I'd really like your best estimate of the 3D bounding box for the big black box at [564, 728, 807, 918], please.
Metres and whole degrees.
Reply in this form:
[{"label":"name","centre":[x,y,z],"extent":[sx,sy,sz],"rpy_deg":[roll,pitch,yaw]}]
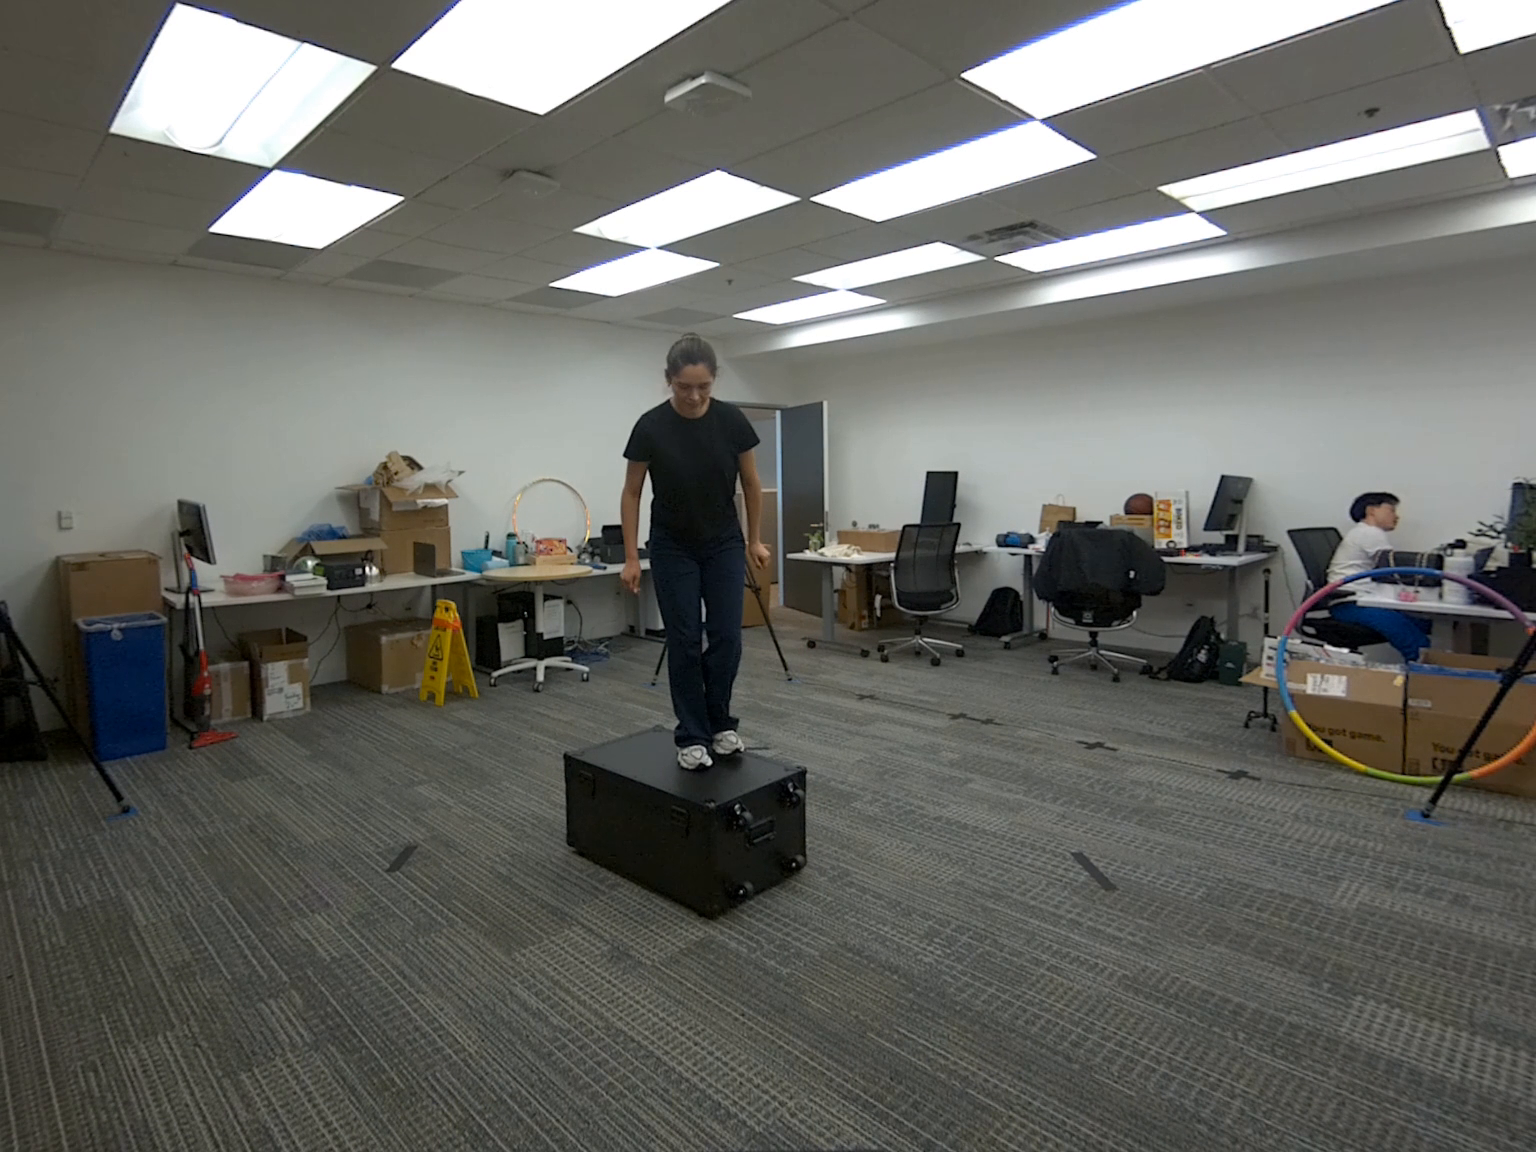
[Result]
[{"label":"big black box","centre":[-0.291,0.858,3.108],"extent":[0.888,0.394,0.508],"rpy_deg":[4,7,42]}]
